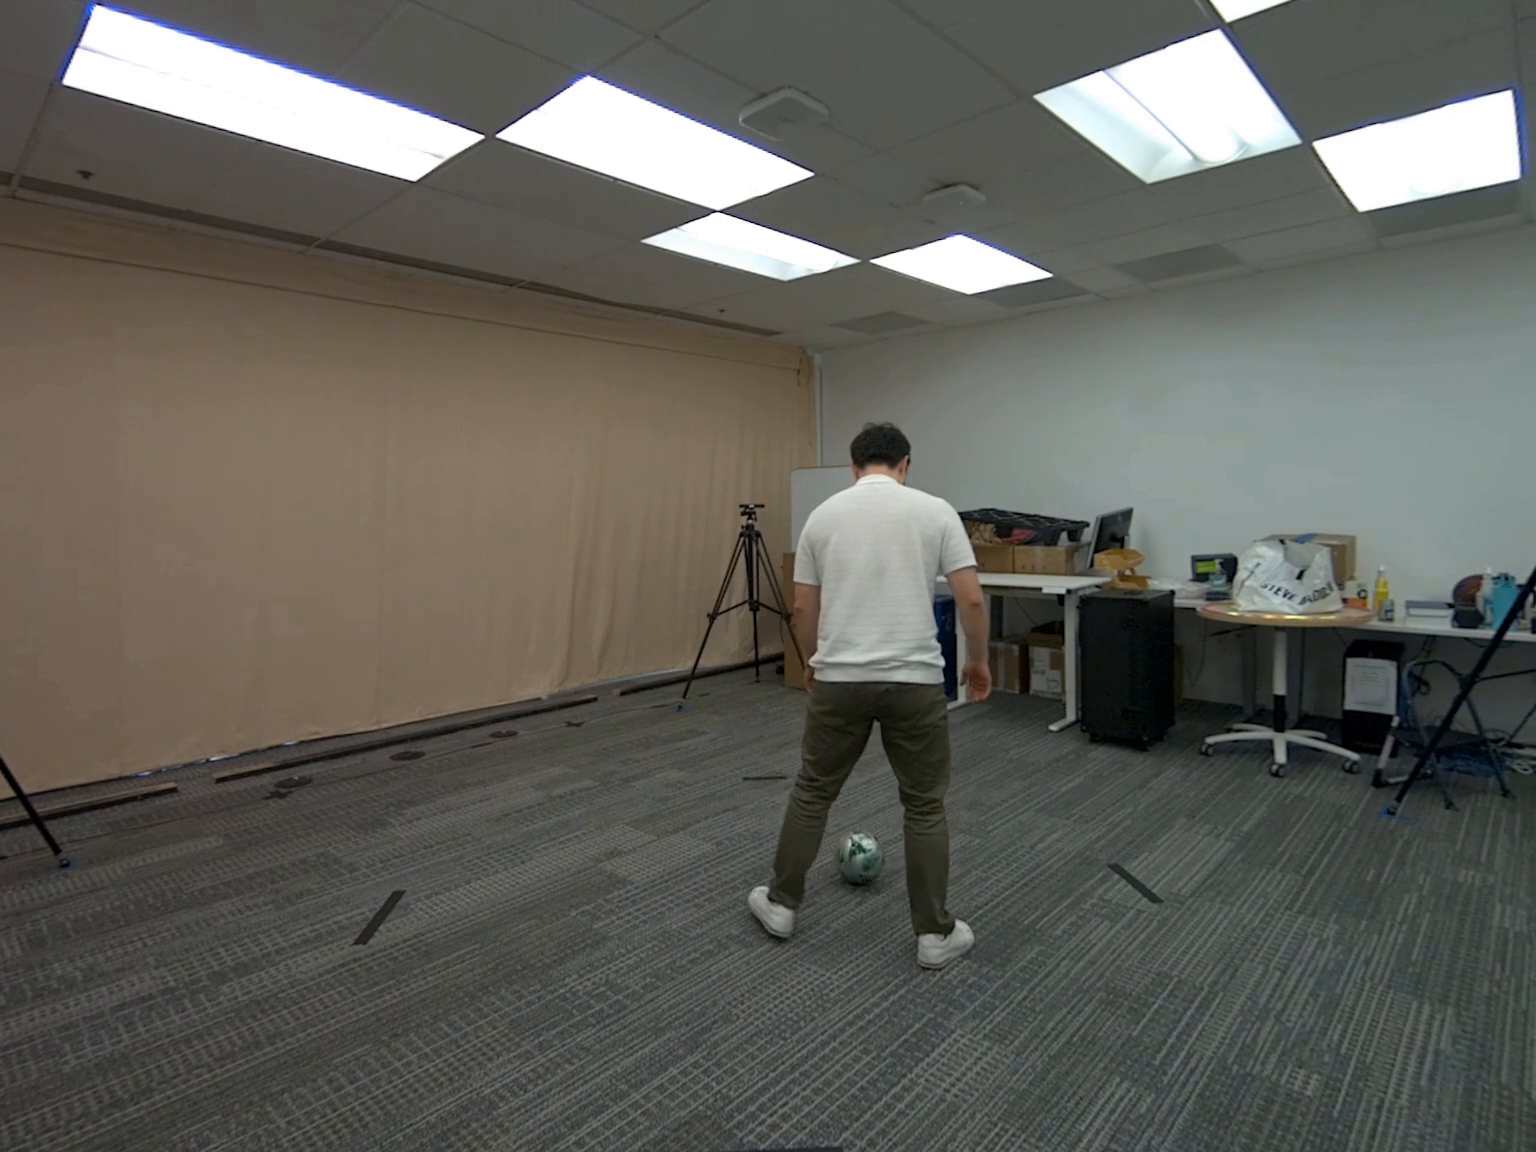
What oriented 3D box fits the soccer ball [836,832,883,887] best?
[{"bbox_3d":[0.336,1.029,3.087,0.187,0.187,0.188,-1,4,-2],"label":"soccer ball"}]
